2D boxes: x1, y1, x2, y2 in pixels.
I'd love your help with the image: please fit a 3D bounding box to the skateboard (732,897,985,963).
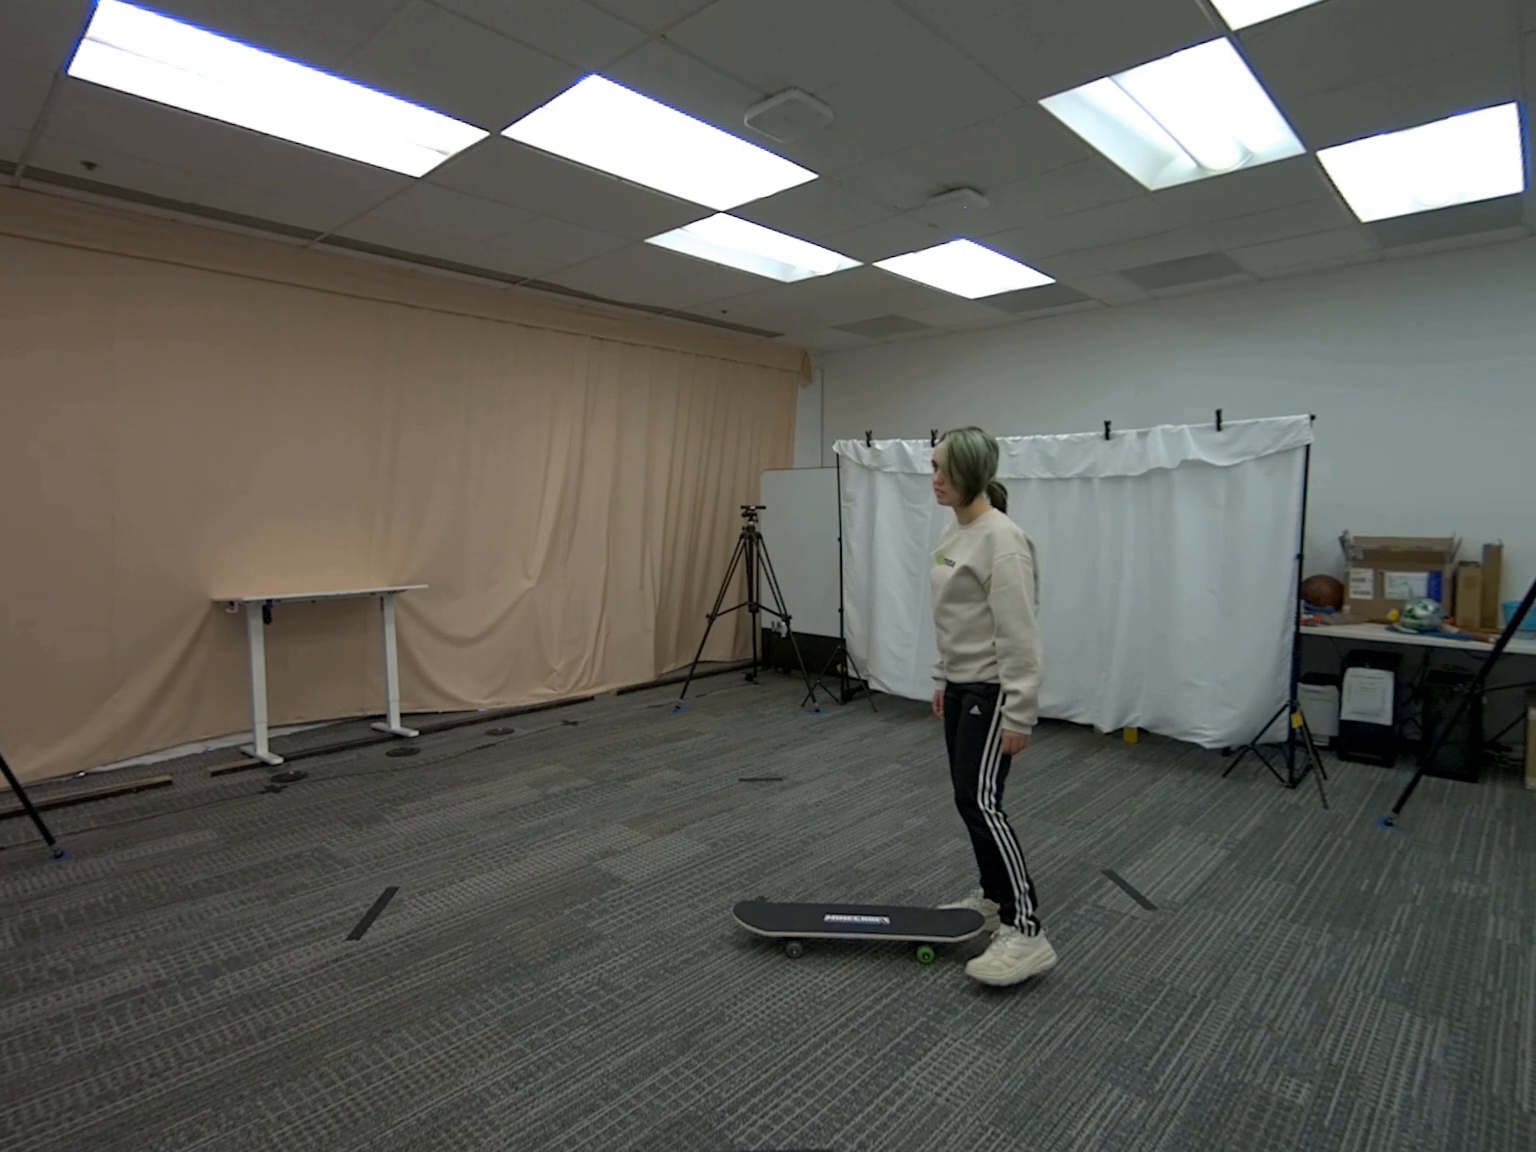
[{"bbox_3d":[0.282,1.116,2.648,0.789,0.110,0.193,0,5,4],"label":"skateboard"}]
